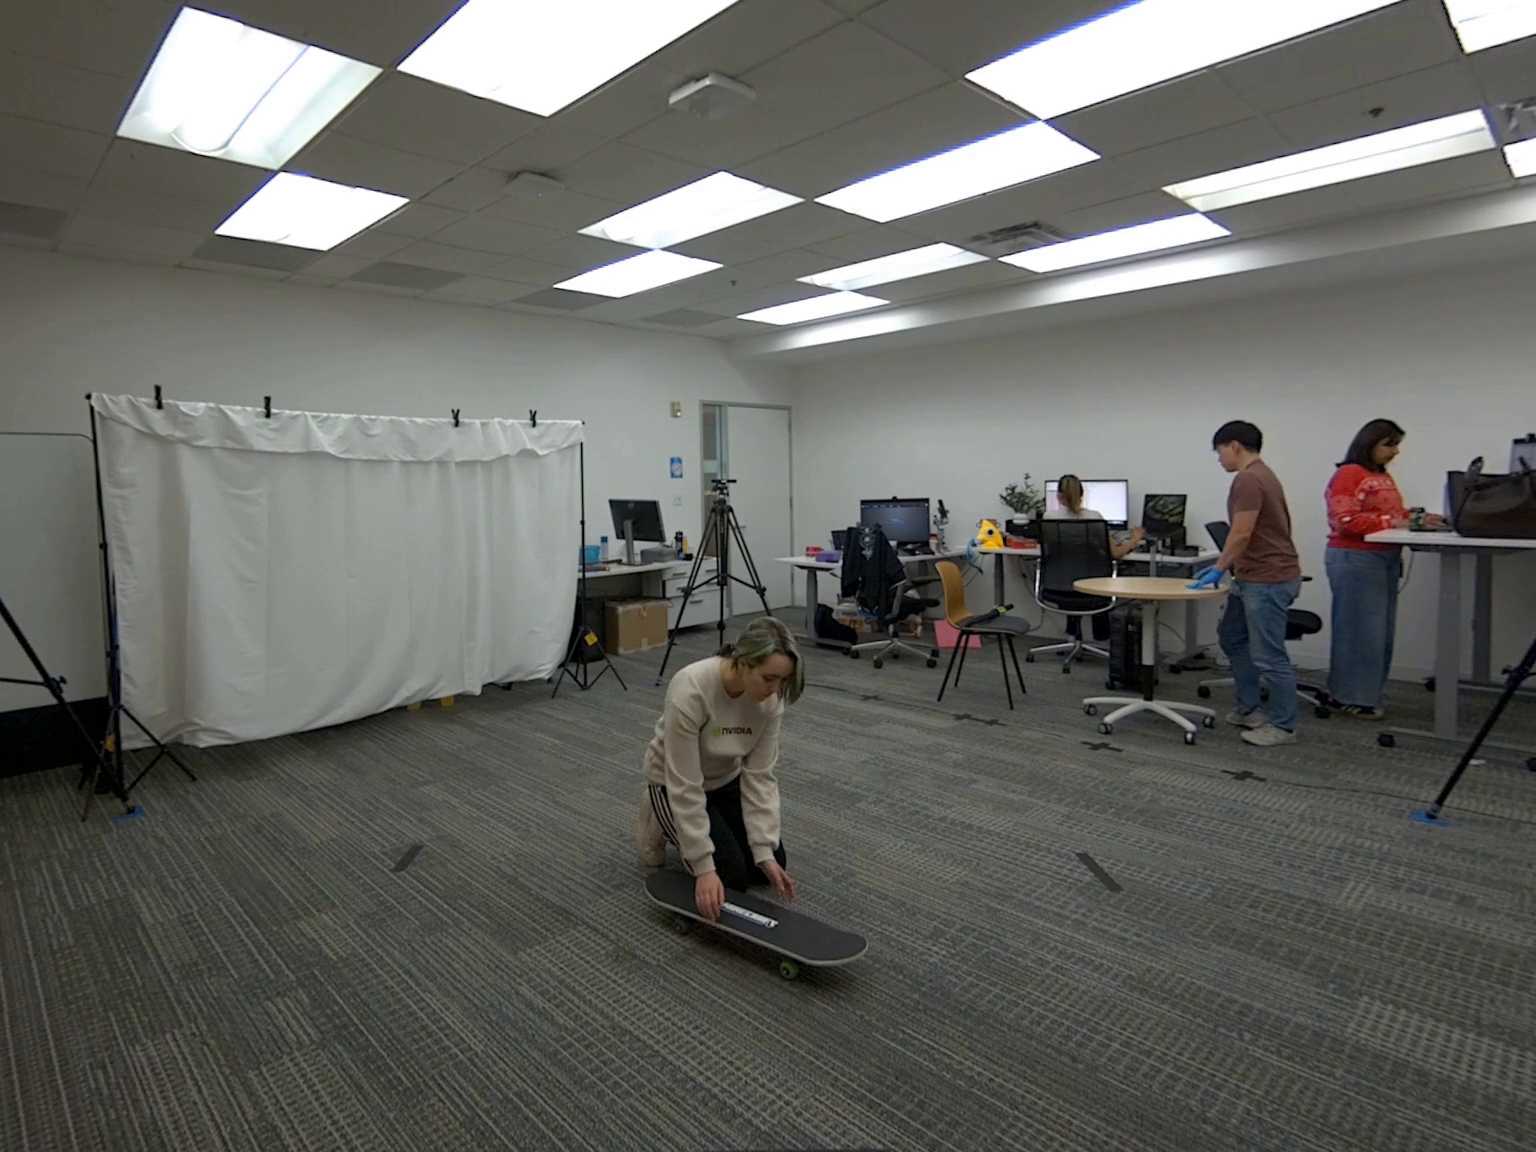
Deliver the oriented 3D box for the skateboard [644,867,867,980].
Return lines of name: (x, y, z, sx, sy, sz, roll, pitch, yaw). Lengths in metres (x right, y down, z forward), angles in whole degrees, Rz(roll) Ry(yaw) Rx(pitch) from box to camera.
skateboard: (-0.053, 1.053, 2.575, 0.809, 0.110, 0.189, 3, 8, 37)
